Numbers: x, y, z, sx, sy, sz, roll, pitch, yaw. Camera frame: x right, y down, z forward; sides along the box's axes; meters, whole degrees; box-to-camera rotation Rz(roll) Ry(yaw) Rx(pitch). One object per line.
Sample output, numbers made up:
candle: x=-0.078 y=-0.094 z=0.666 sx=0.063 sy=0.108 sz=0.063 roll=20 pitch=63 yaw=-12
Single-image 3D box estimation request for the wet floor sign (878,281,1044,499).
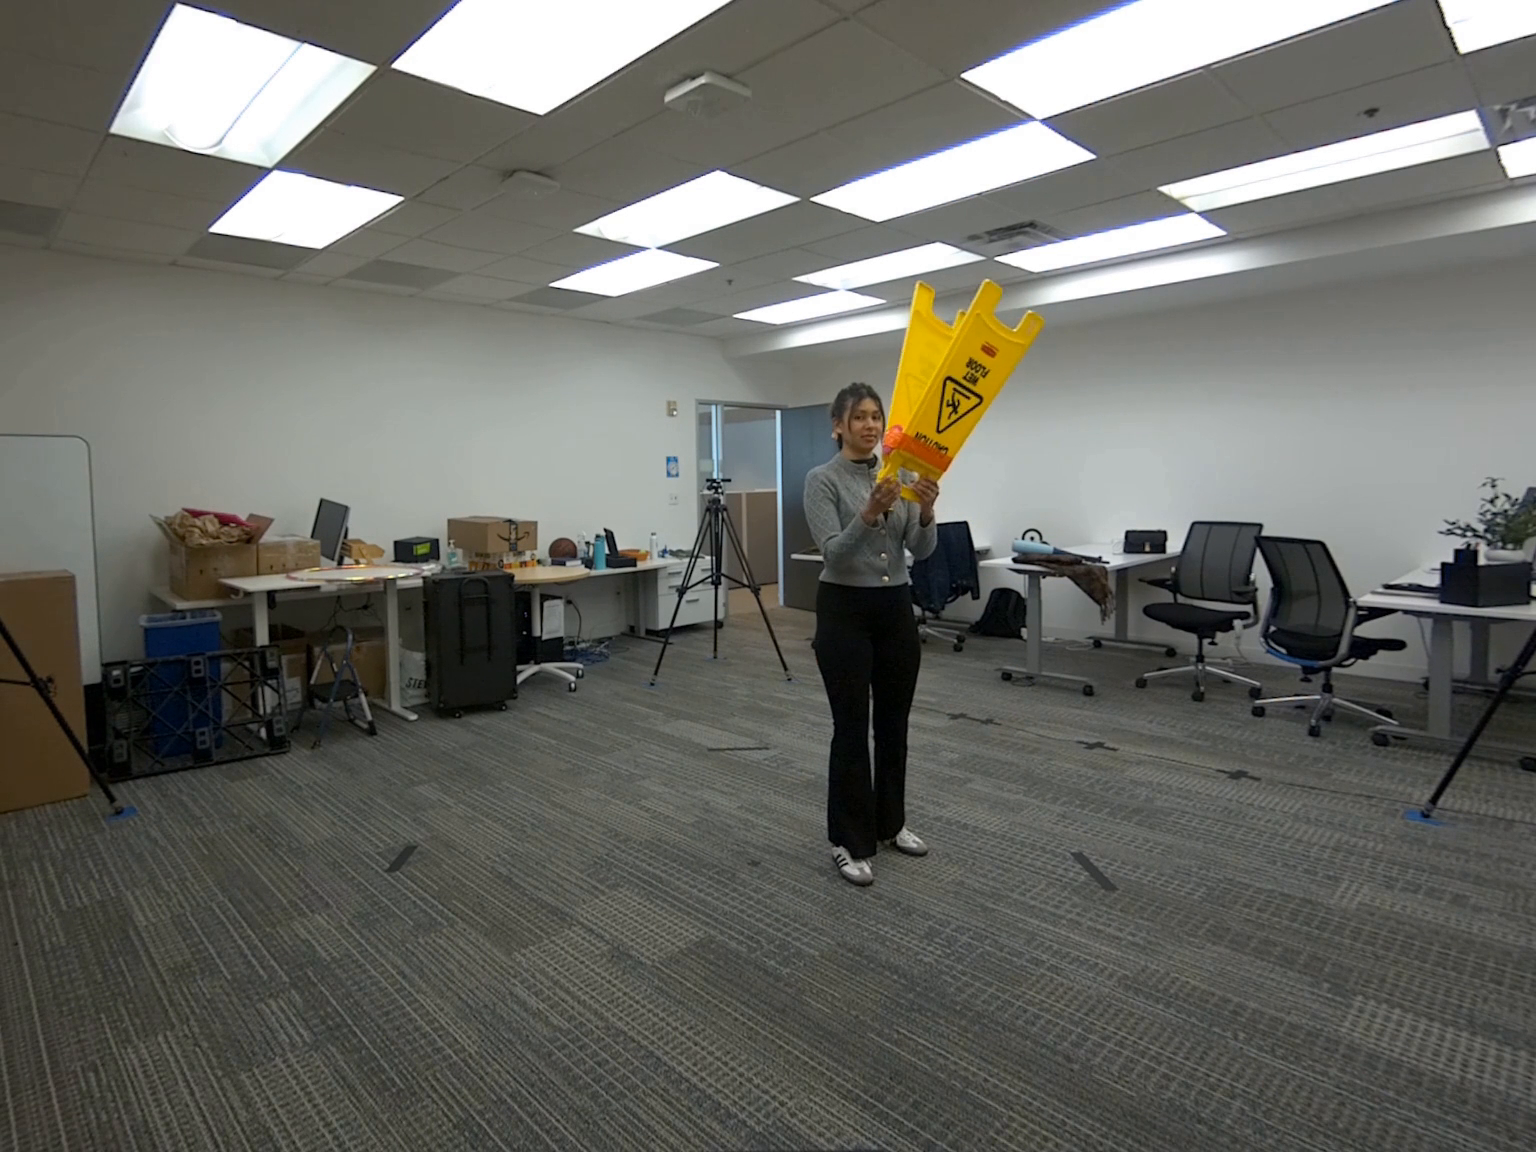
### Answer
wet floor sign: x=0.528 y=-0.546 z=2.624 sx=0.273 sy=0.645 sz=0.300 roll=20 pitch=2 yaw=-34
